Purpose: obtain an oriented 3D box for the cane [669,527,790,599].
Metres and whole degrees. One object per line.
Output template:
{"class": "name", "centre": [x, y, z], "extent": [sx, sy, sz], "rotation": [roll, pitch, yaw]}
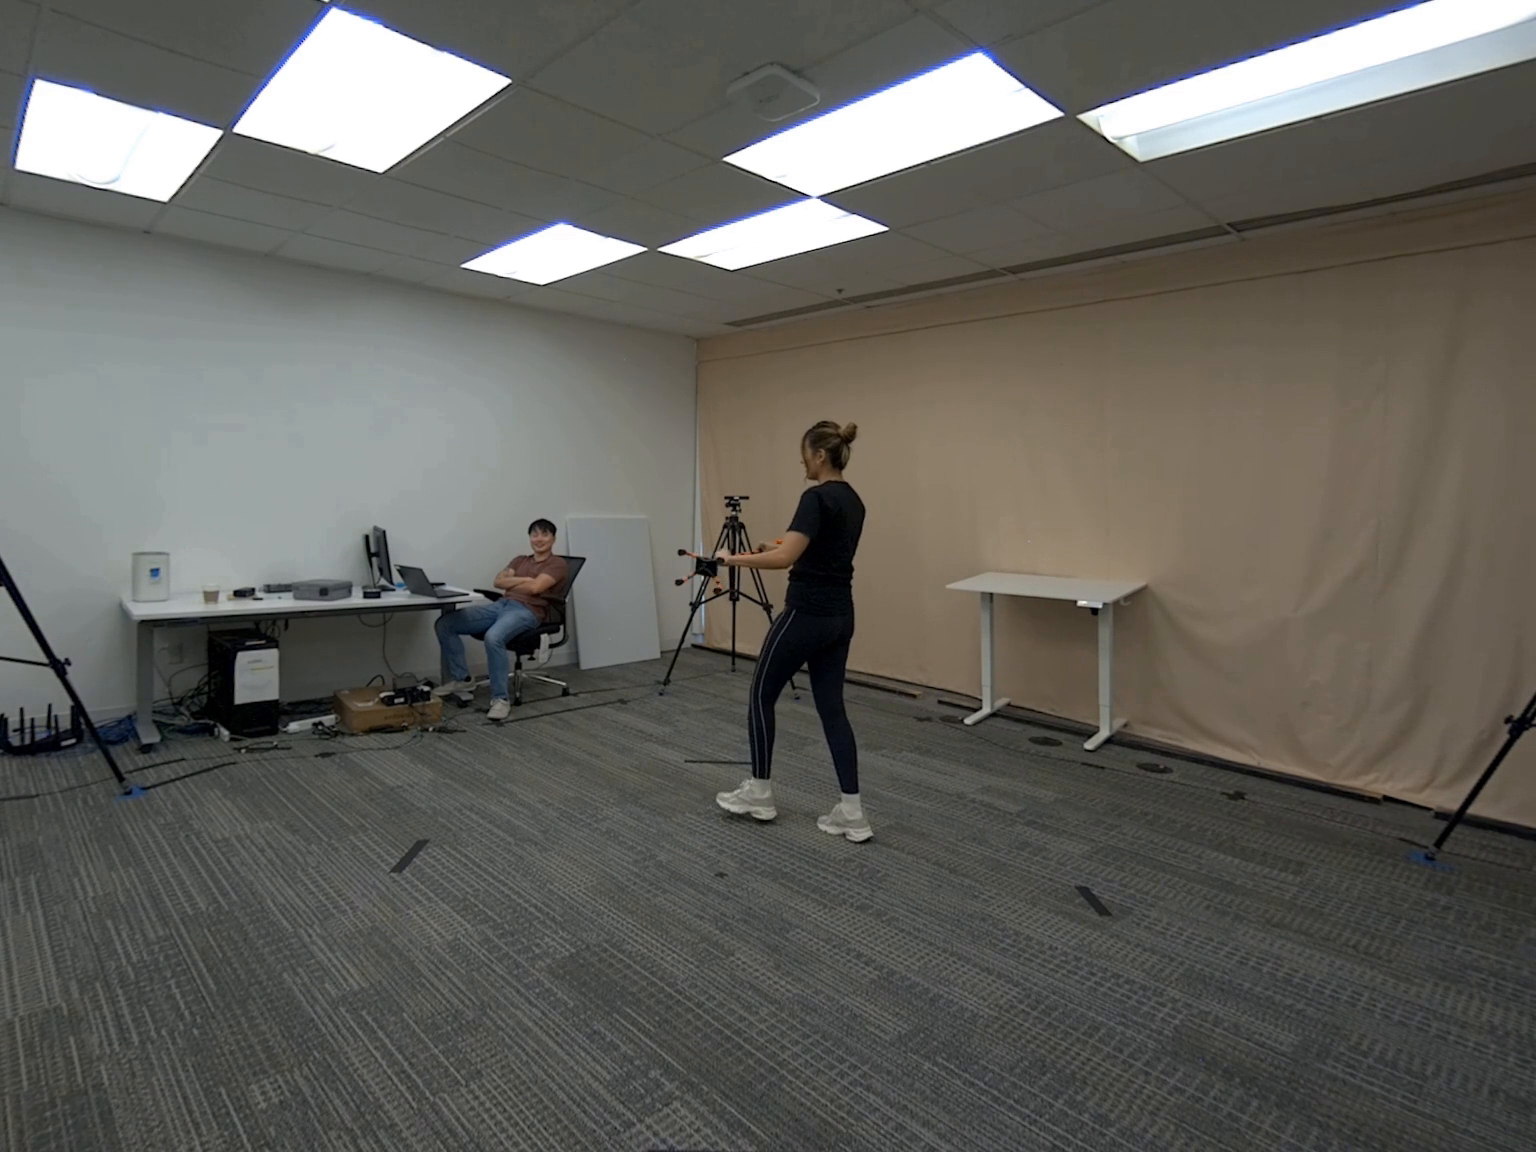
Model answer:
{"class": "cane", "centre": [-0.092, -0.079, 3.713], "extent": [0.211, 0.150, 0.895], "rotation": [15, 15, 24]}
